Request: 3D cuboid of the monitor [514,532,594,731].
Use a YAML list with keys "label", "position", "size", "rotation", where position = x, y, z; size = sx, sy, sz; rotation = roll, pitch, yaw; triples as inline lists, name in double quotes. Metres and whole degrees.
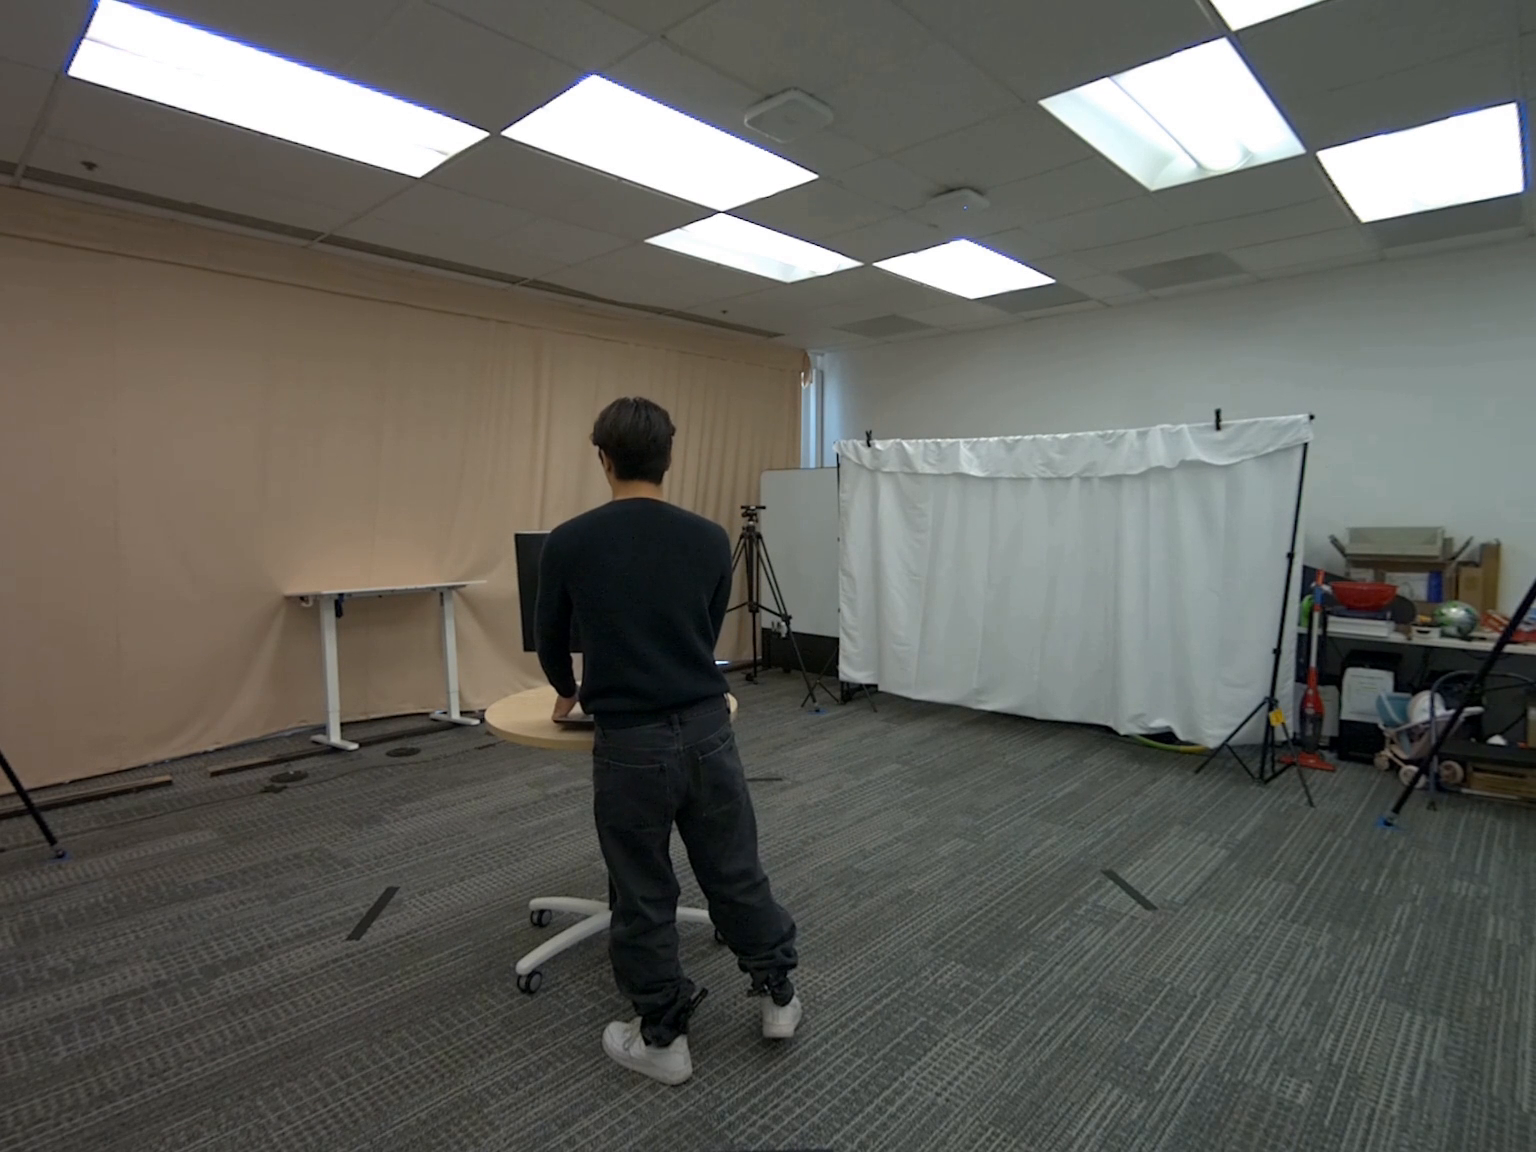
- label: "monitor"
  position: [-0.466, 0.138, 2.382]
  size: [0.544, 0.523, 0.185]
  rotation: [-1, -3, 8]
